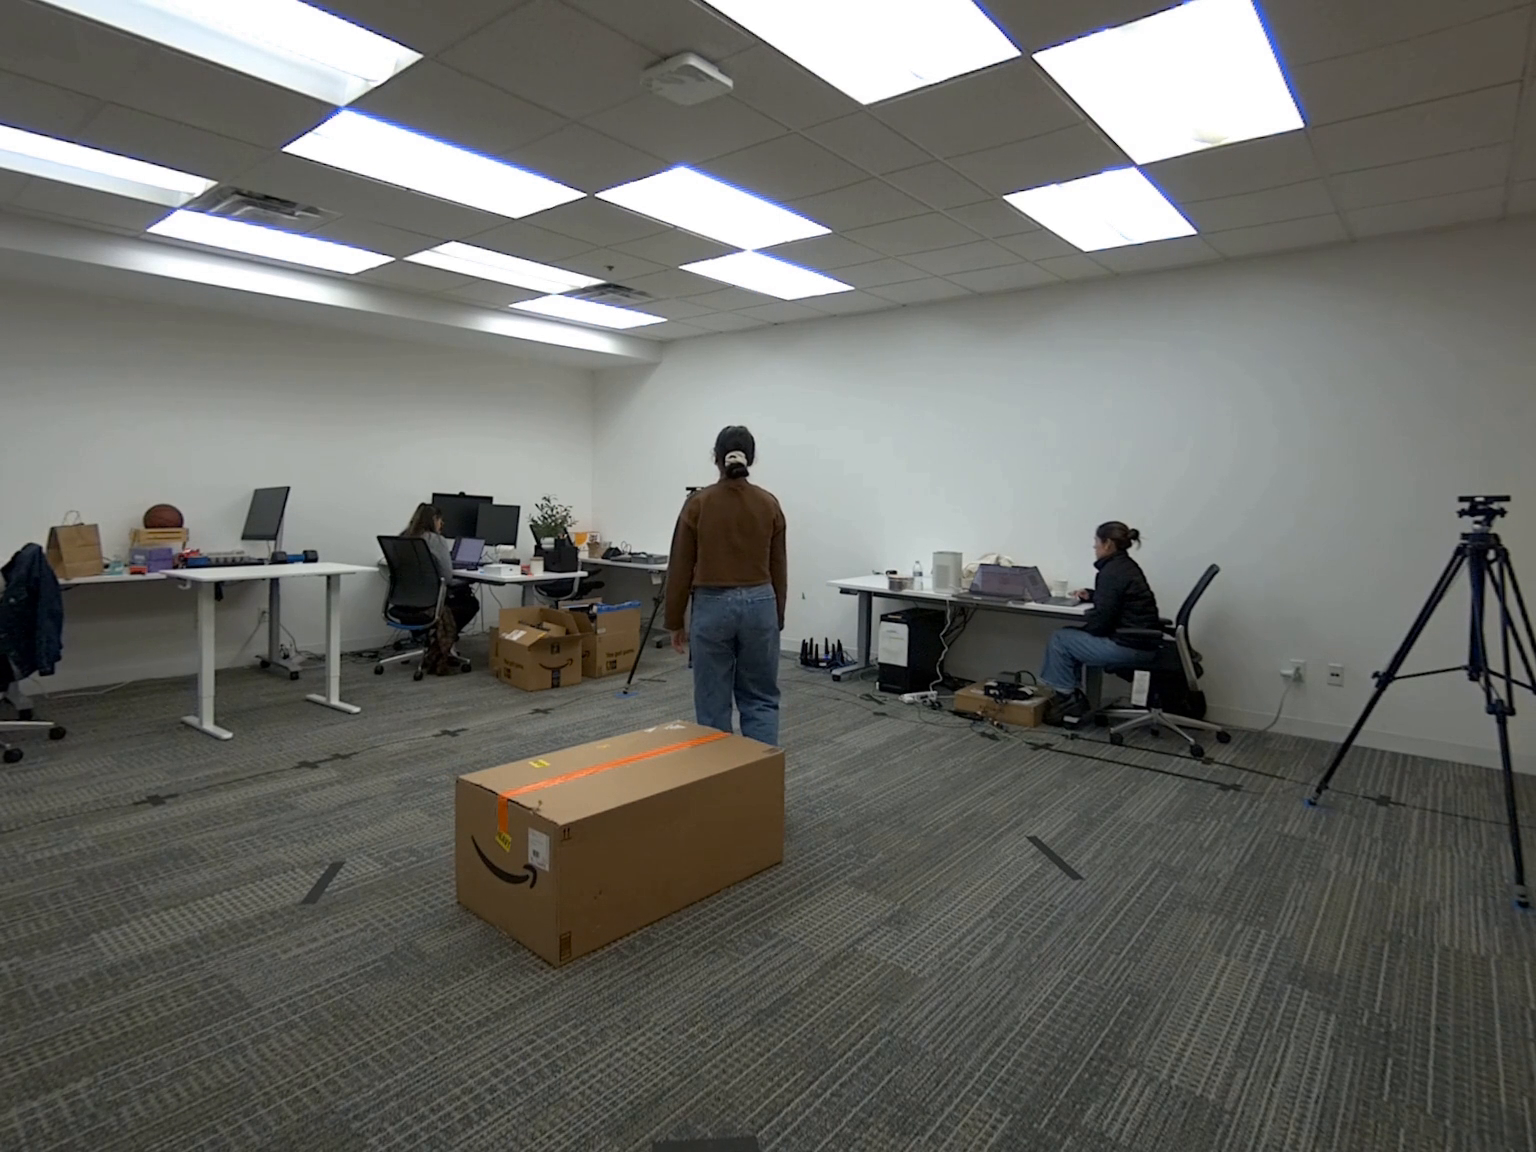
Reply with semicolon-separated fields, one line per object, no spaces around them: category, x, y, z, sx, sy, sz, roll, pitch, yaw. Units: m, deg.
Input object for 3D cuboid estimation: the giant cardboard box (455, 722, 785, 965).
giant cardboard box;-0.501;0.864;2.986;0.604;0.445;0.996;6;7;42
